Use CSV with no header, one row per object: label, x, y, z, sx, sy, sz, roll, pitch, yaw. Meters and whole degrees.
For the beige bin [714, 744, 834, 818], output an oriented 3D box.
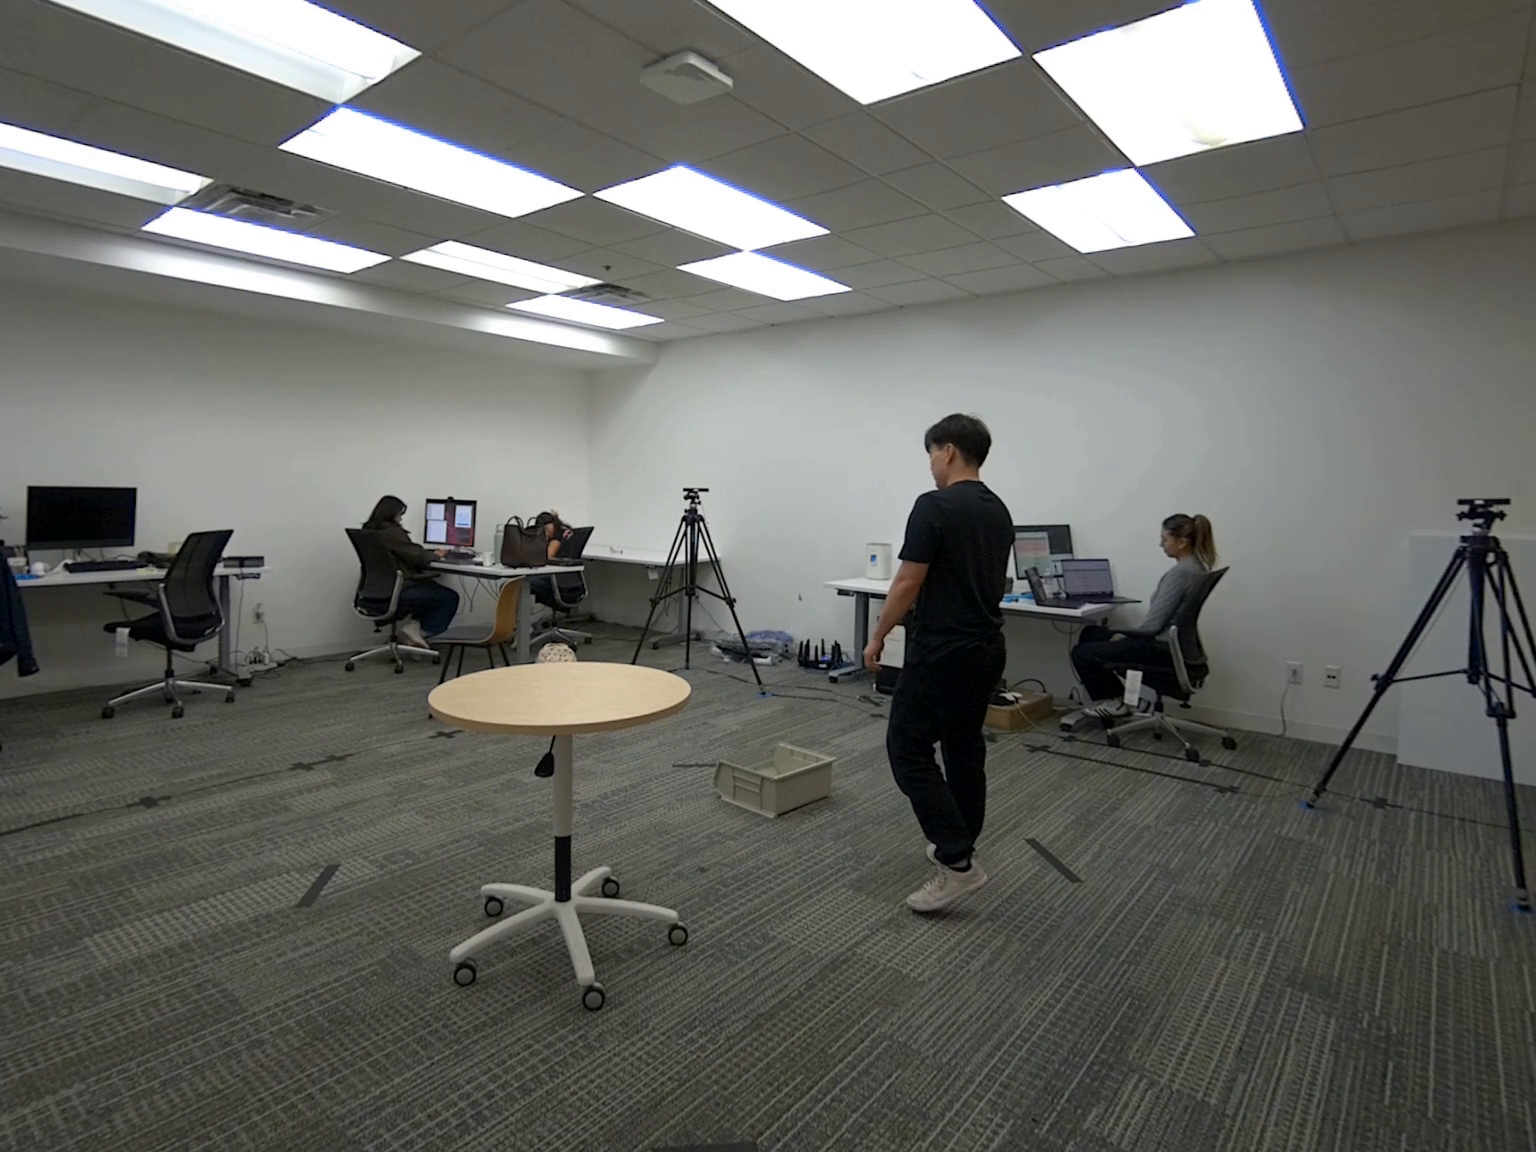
beige bin,0.022,0.911,3.864,0.390,0.188,0.409,7,8,43
